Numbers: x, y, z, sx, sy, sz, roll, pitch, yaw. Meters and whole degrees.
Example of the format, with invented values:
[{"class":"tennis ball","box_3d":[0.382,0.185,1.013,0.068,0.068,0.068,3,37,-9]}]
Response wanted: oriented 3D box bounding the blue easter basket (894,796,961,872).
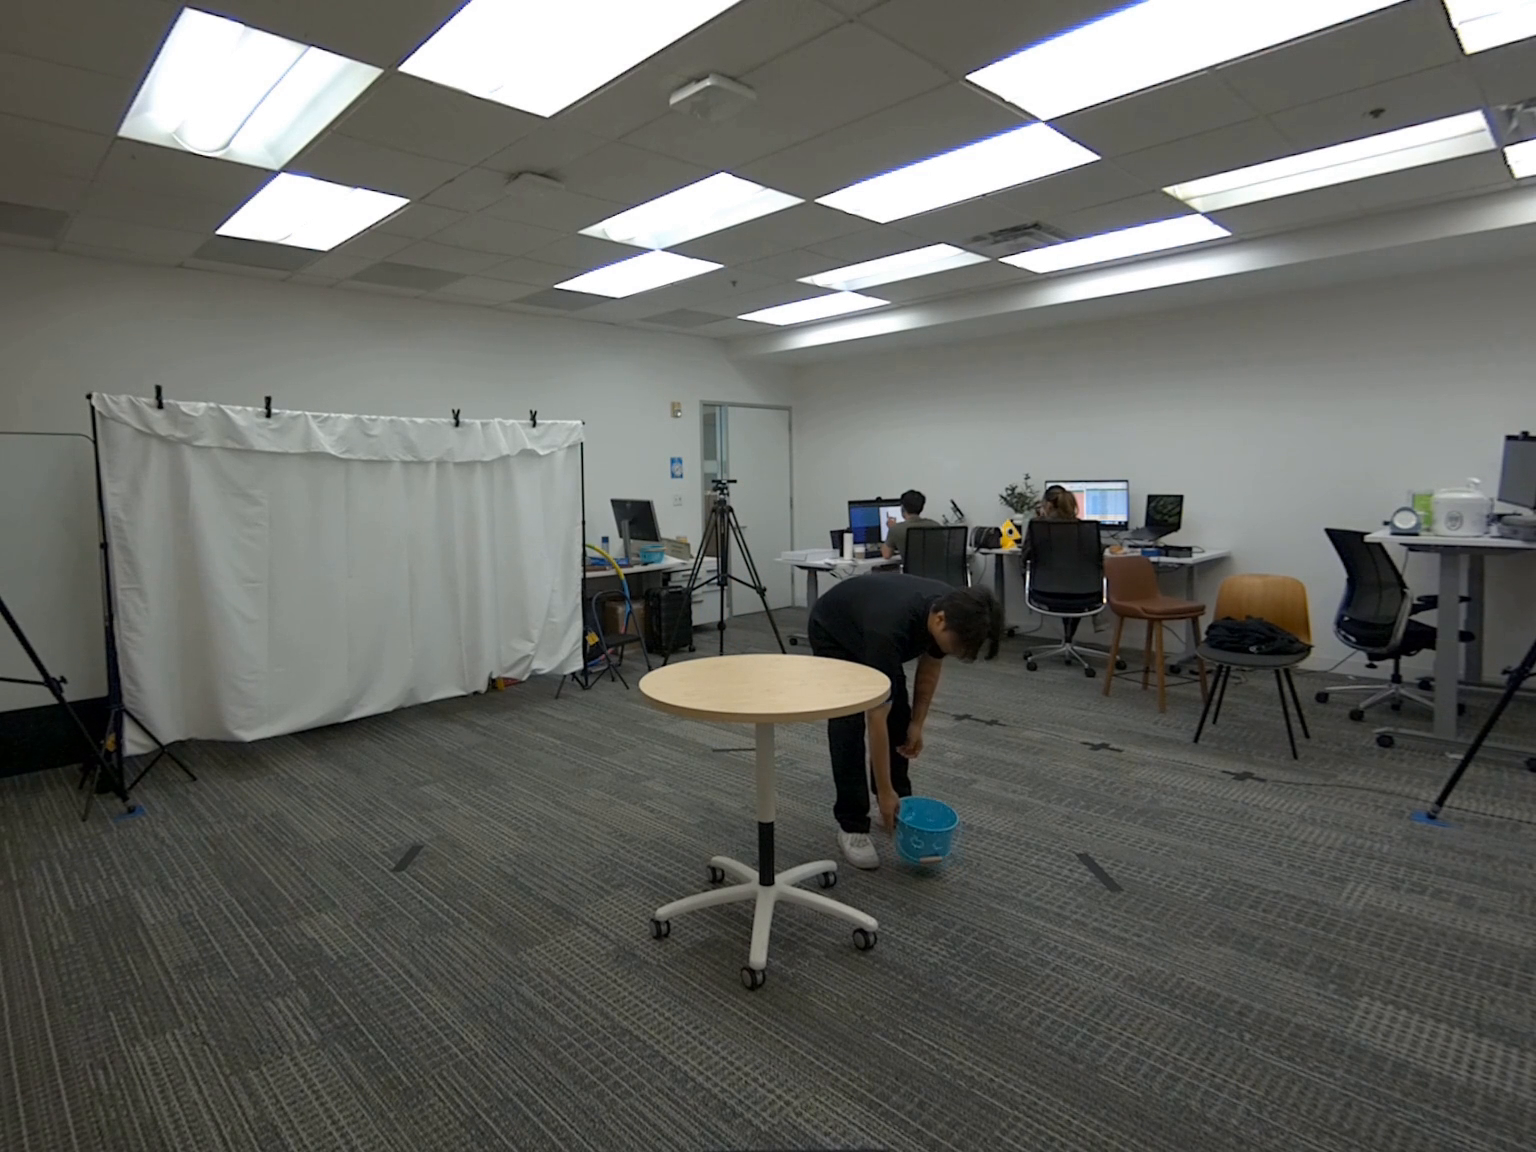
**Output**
[{"class":"blue easter basket","box_3d":[0.552,0.912,3.029,0.243,0.154,0.246,3,13,-2]}]
